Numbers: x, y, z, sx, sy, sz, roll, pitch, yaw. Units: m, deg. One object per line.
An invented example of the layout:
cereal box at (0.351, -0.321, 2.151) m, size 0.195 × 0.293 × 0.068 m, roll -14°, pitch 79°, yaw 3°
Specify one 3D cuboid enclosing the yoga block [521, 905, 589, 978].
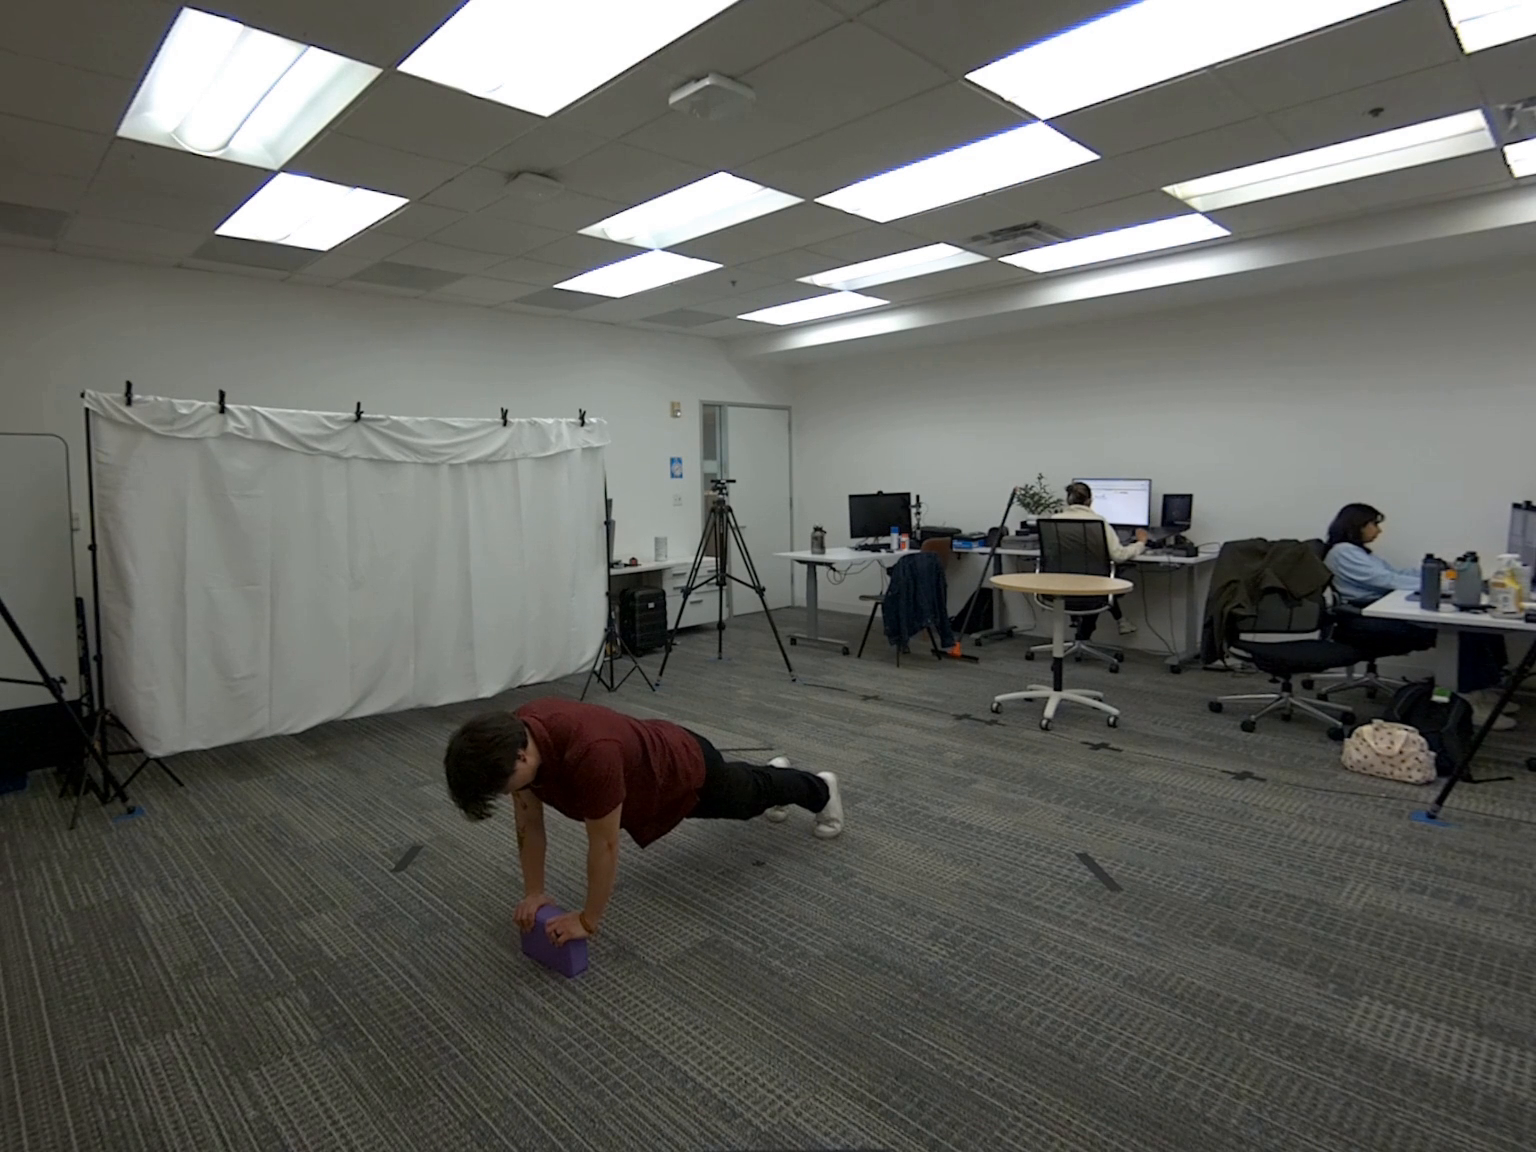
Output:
yoga block at (-0.623, 1.062, 2.502) m, size 0.236 × 0.148 × 0.075 m, roll 3°, pitch 10°, yaw 38°
